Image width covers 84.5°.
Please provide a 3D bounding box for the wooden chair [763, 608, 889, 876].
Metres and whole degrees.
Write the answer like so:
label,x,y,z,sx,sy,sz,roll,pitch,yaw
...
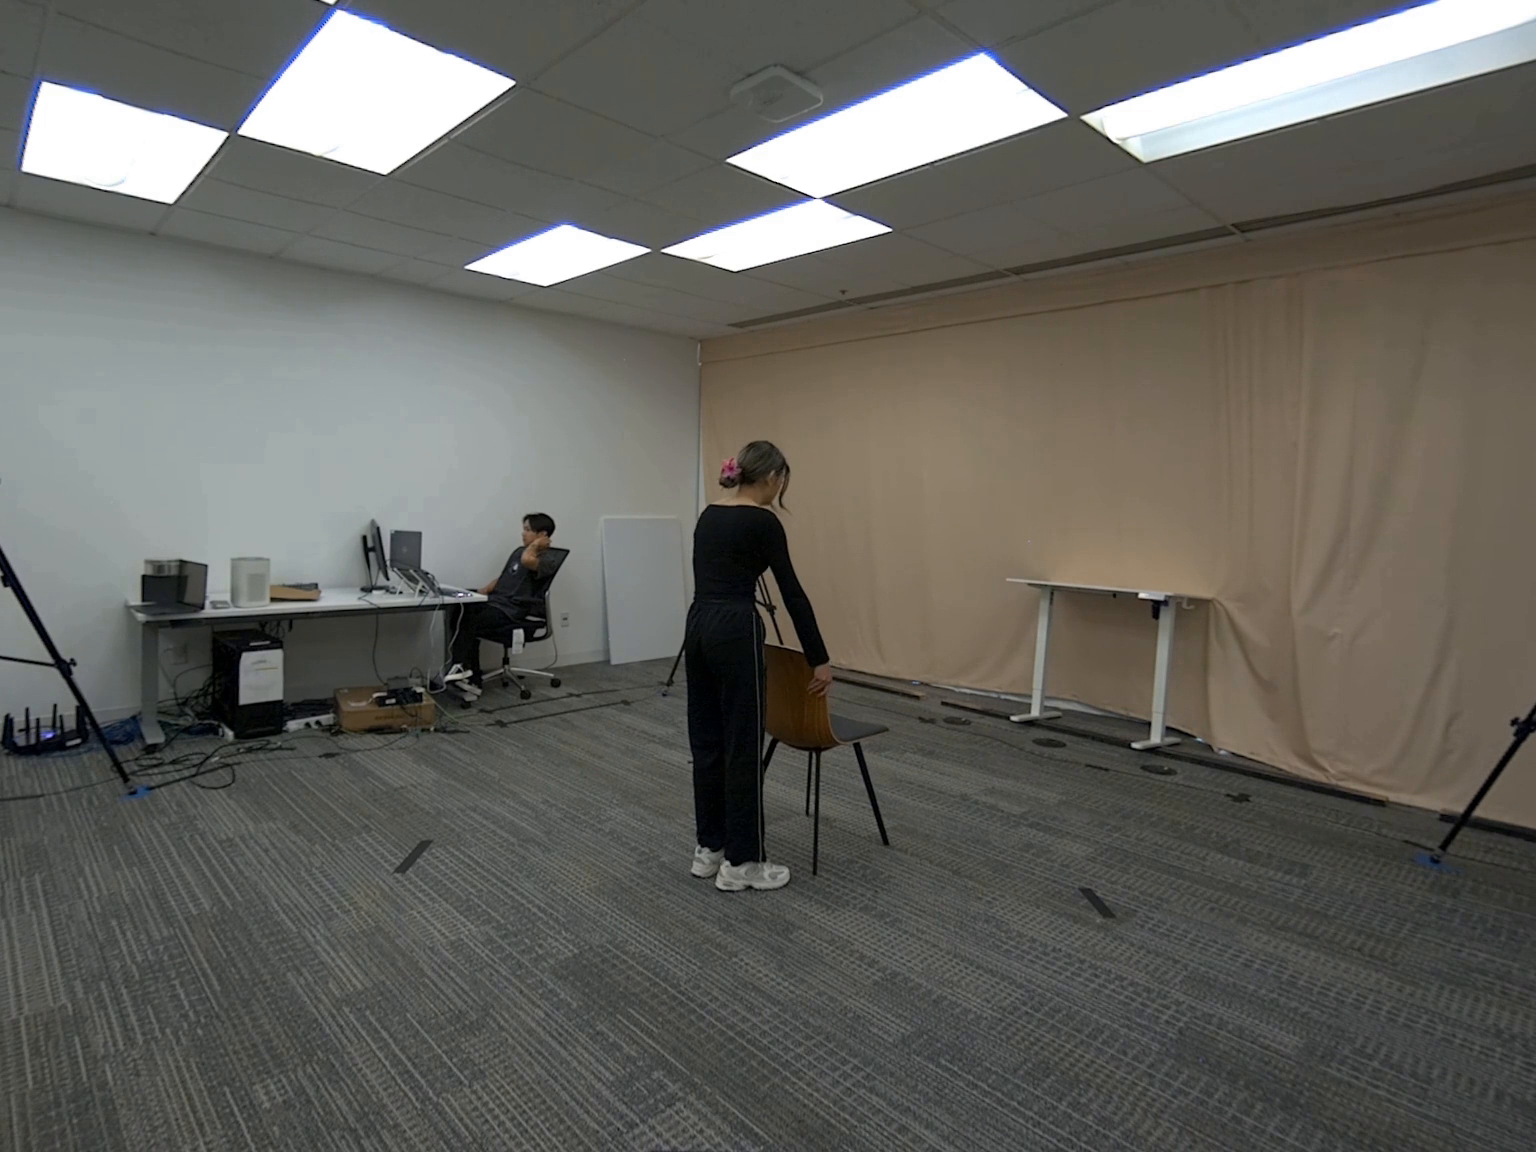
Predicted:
label,x,y,z,sx,sy,sz,roll,pitch,yaw
wooden chair,0.188,0.662,3.419,0.512,0.873,0.490,-7,8,-43
